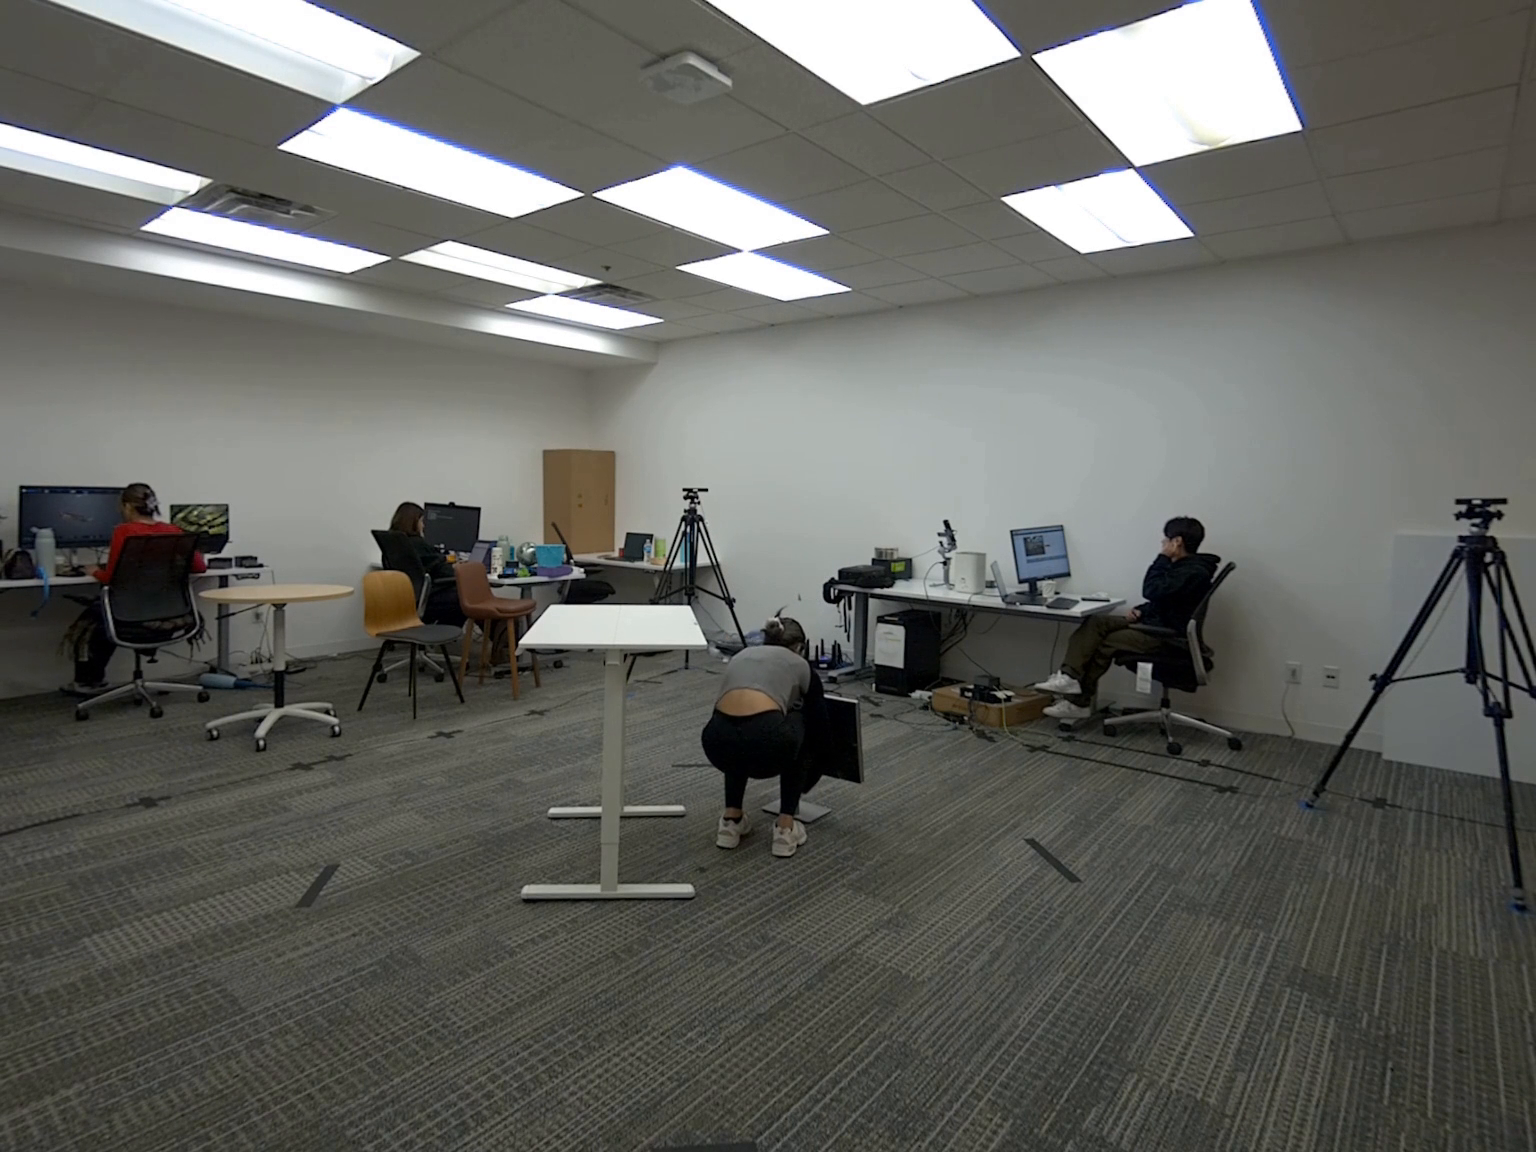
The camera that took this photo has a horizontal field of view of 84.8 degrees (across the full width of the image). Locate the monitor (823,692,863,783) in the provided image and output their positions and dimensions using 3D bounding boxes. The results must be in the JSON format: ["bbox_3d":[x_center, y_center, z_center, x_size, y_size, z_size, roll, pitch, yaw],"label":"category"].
[{"bbox_3d":[0.119,0.759,3.684,0.556,0.521,0.181,3,3,36],"label":"monitor"}]
